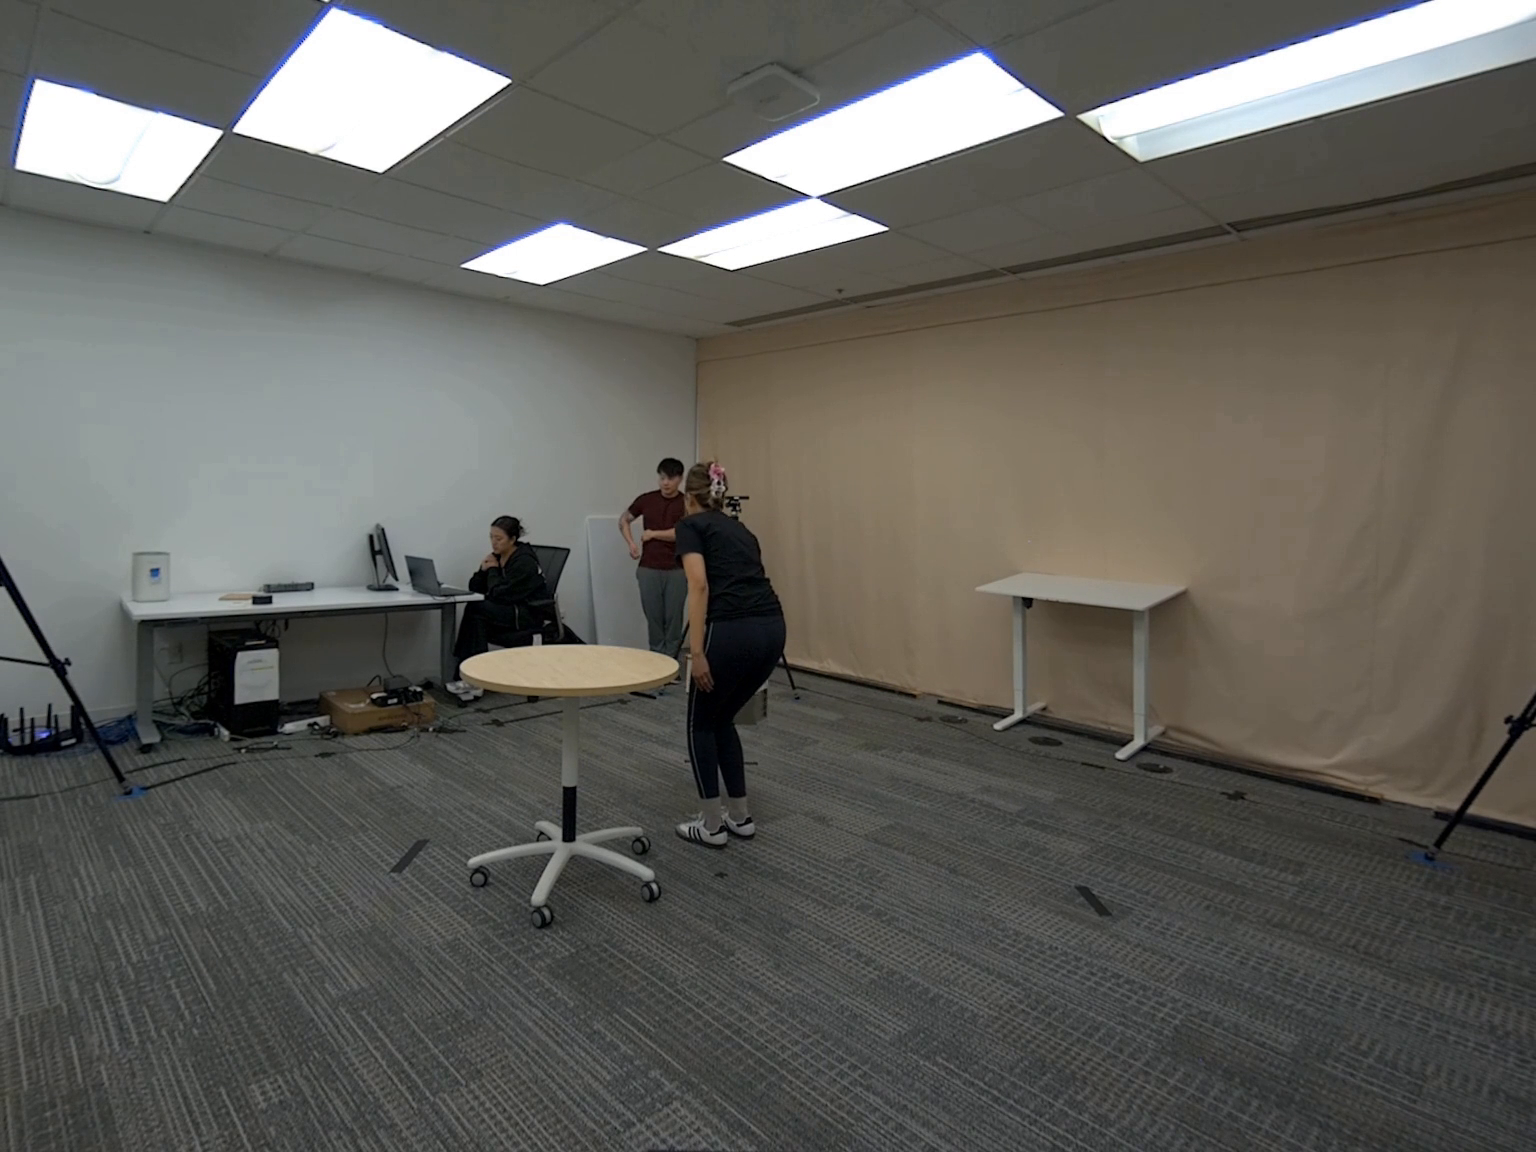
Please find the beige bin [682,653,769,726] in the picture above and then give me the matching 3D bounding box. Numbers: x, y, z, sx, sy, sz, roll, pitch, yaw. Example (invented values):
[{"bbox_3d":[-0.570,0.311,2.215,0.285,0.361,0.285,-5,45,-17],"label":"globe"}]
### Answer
[{"bbox_3d":[-0.196,0.544,3.960,0.378,0.192,0.414,1,-29,1],"label":"beige bin"}]
